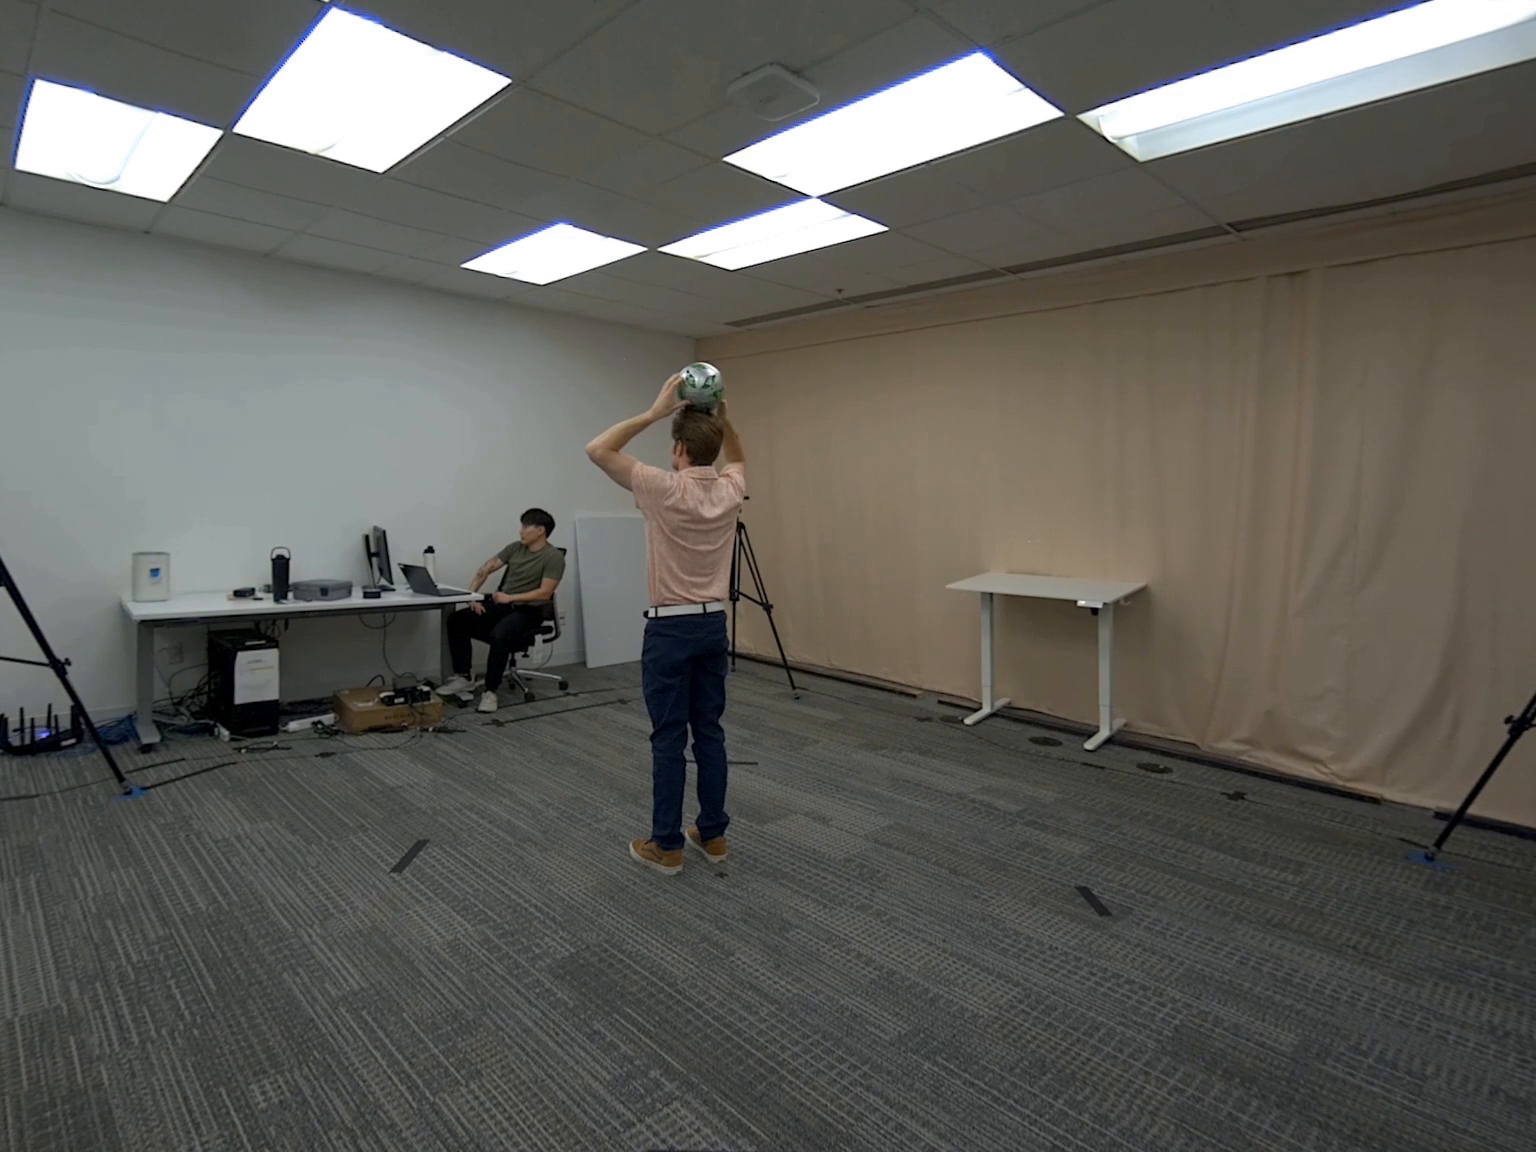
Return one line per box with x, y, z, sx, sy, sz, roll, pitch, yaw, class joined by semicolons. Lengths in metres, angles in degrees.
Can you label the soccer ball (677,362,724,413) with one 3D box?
-0.261;-0.700;3.148;0.187;0.187;0.188;1;4;-1;soccer ball
